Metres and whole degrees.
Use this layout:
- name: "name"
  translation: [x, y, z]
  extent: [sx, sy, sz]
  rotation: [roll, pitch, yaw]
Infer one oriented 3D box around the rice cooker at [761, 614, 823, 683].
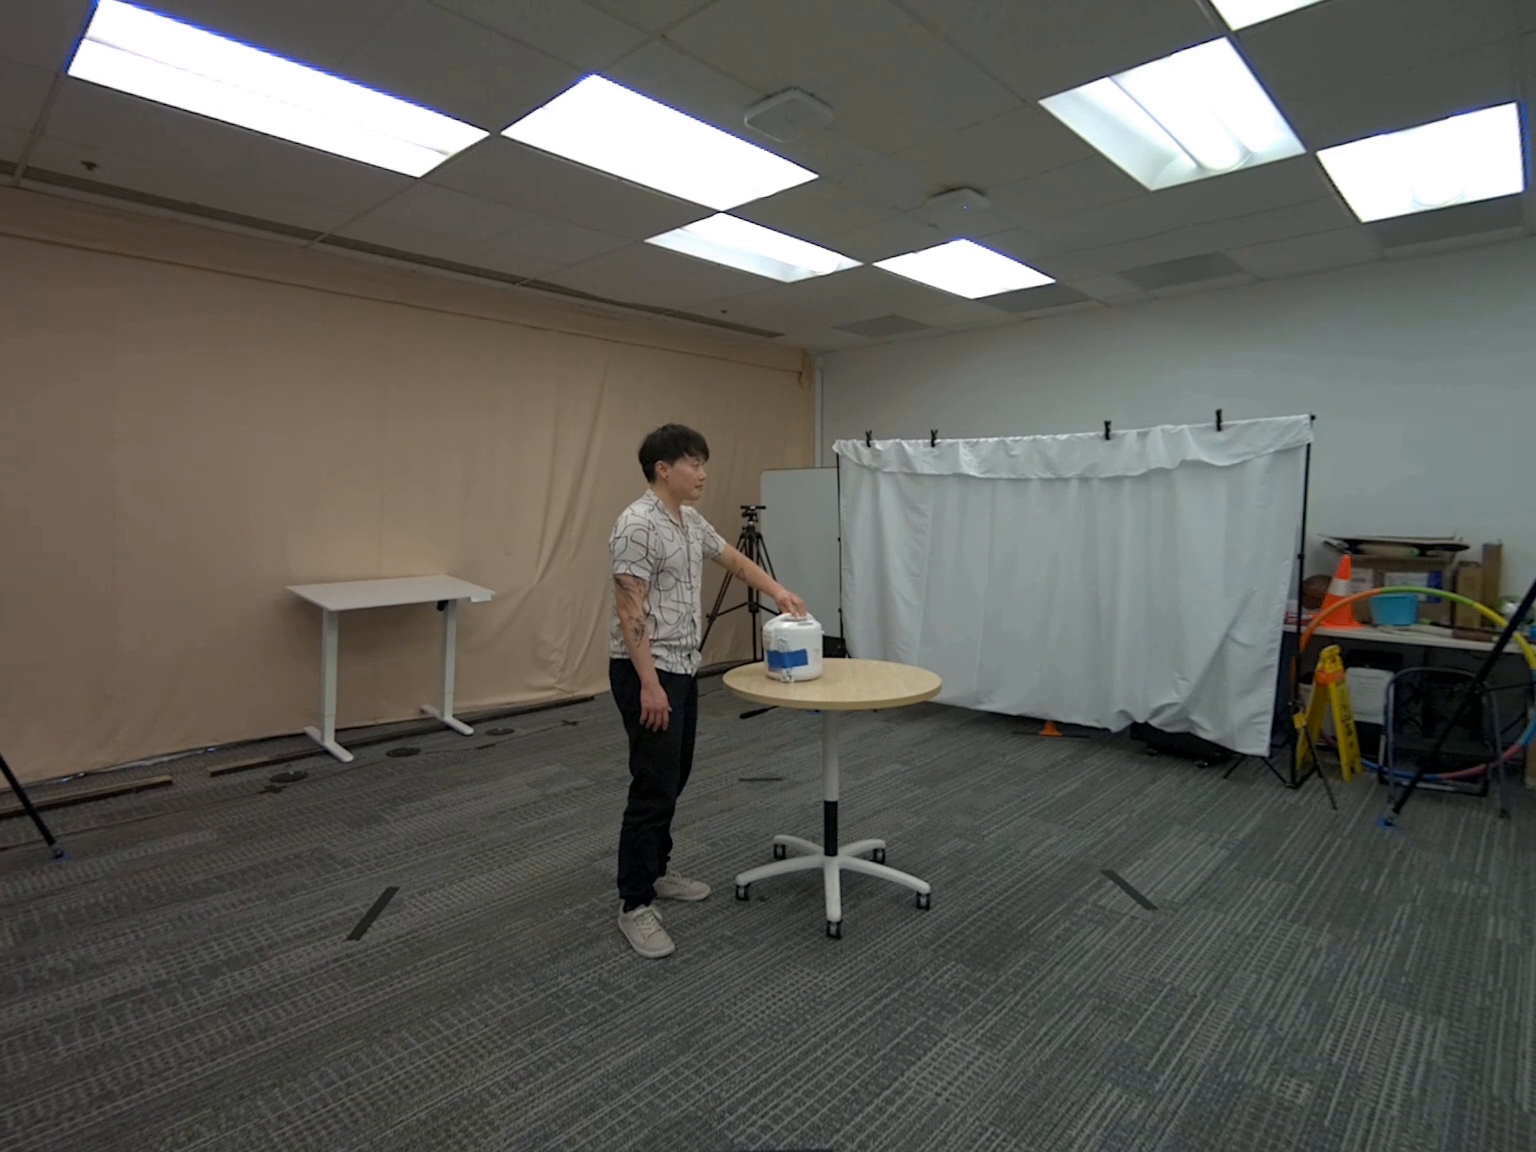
- name: "rice cooker"
  translation: [0.088, 0.246, 2.989]
  extent: [0.215, 0.232, 0.223]
  rotation: [-1, 4, -27]
